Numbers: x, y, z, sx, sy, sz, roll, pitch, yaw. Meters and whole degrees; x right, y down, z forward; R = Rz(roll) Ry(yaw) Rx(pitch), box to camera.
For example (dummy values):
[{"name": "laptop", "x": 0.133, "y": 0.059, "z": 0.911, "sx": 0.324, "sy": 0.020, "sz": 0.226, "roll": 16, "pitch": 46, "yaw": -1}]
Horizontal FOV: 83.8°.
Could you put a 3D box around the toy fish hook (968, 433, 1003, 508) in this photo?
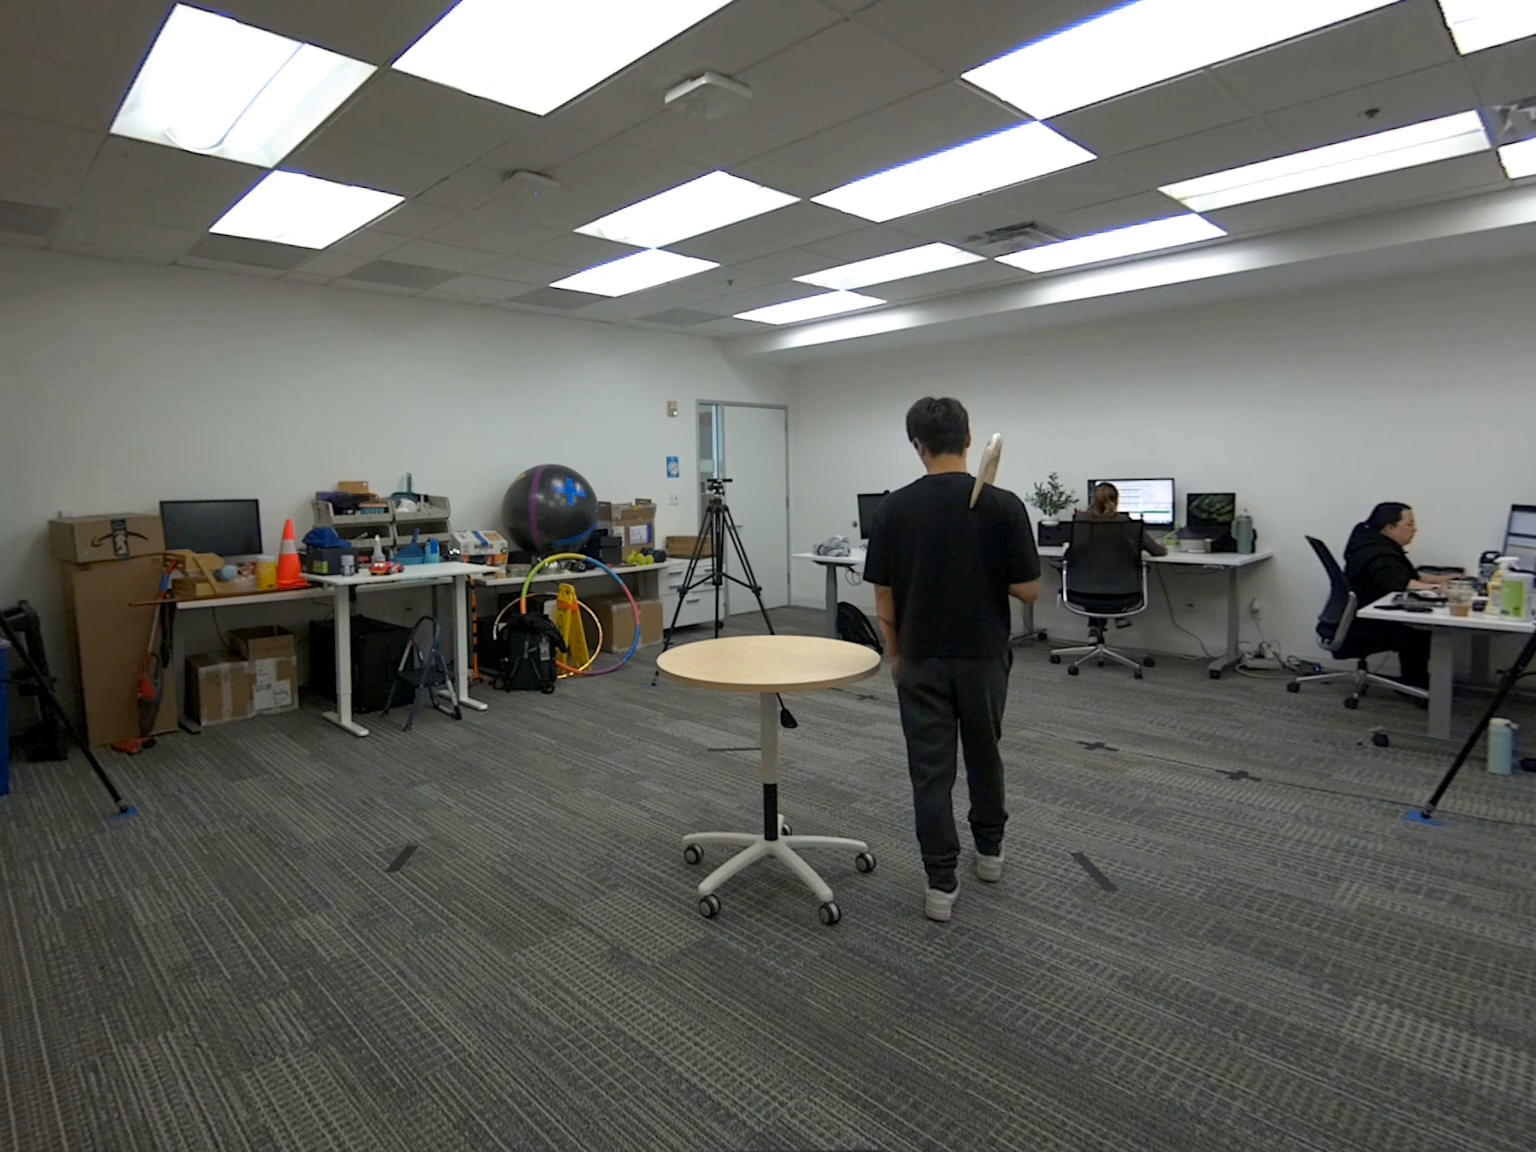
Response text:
[{"name": "toy fish hook", "x": 0.676, "y": -0.220, "z": 2.744, "sx": 0.049, "sy": 0.493, "sz": 0.225, "roll": 18, "pitch": 43, "yaw": 21}]
